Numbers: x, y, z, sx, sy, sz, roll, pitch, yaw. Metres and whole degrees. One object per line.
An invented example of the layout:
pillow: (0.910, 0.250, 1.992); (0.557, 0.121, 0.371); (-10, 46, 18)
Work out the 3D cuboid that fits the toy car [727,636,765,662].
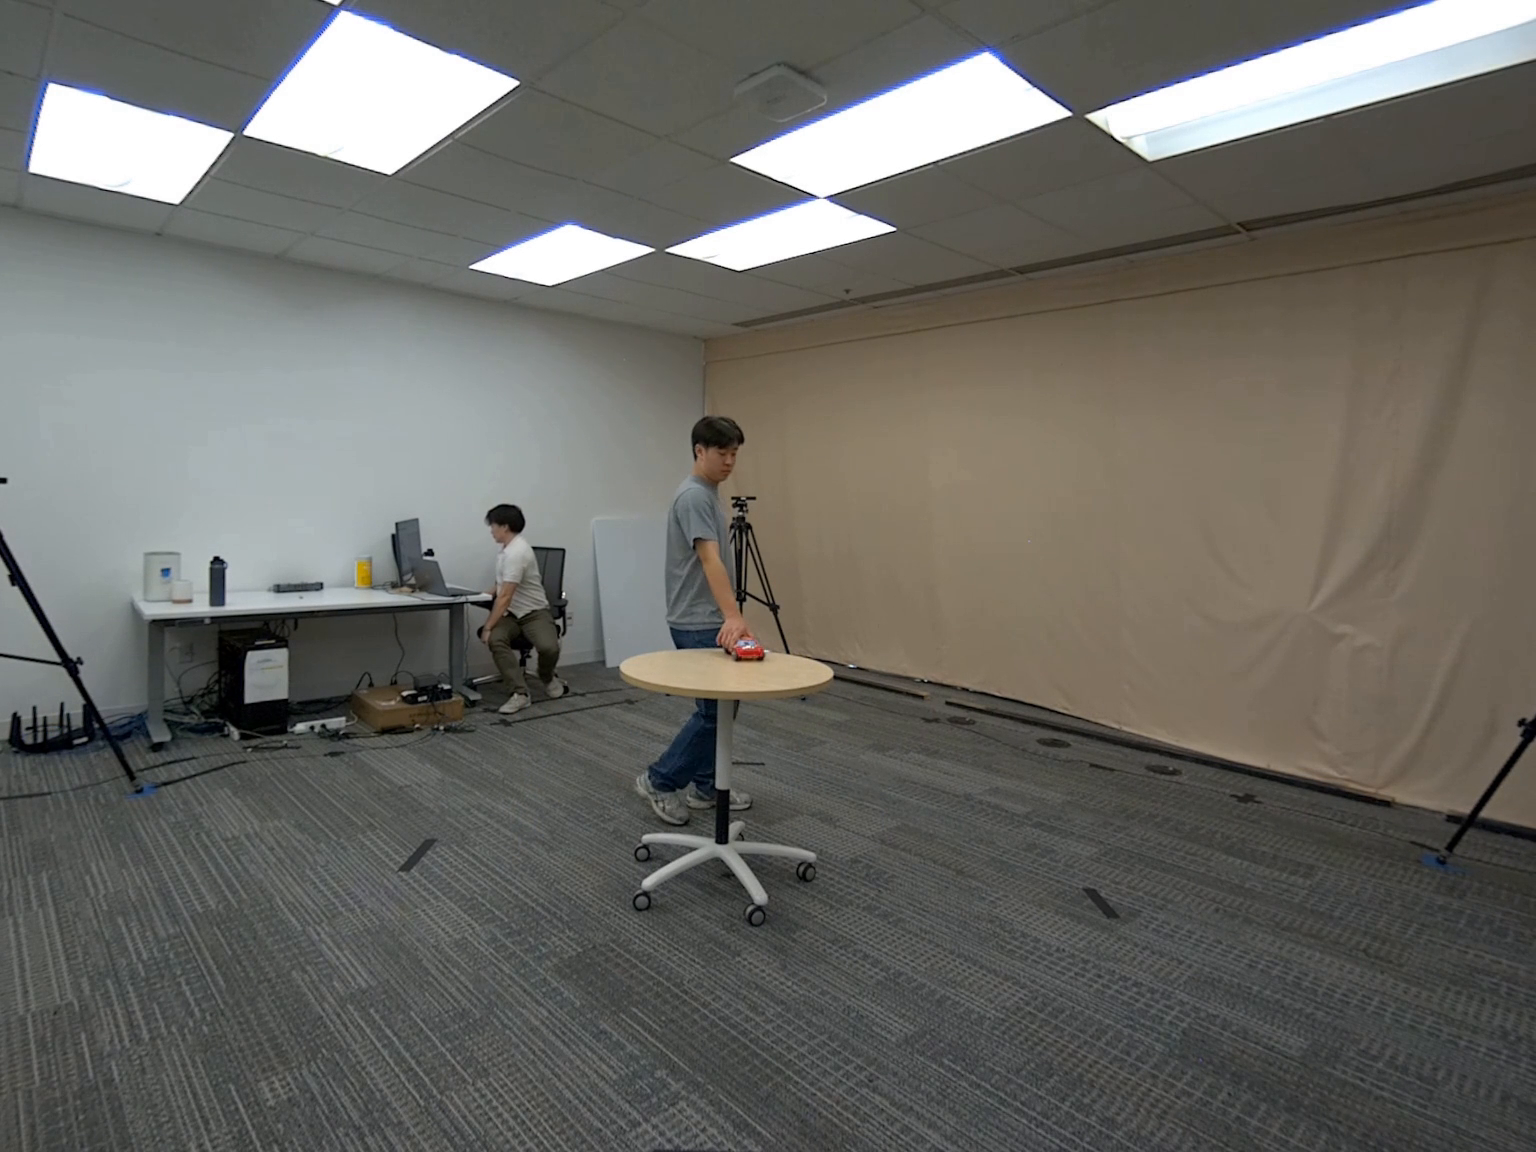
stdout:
toy car: (-0.112, 0.279, 3.257); (0.129, 0.082, 0.260); (2, 16, -14)
